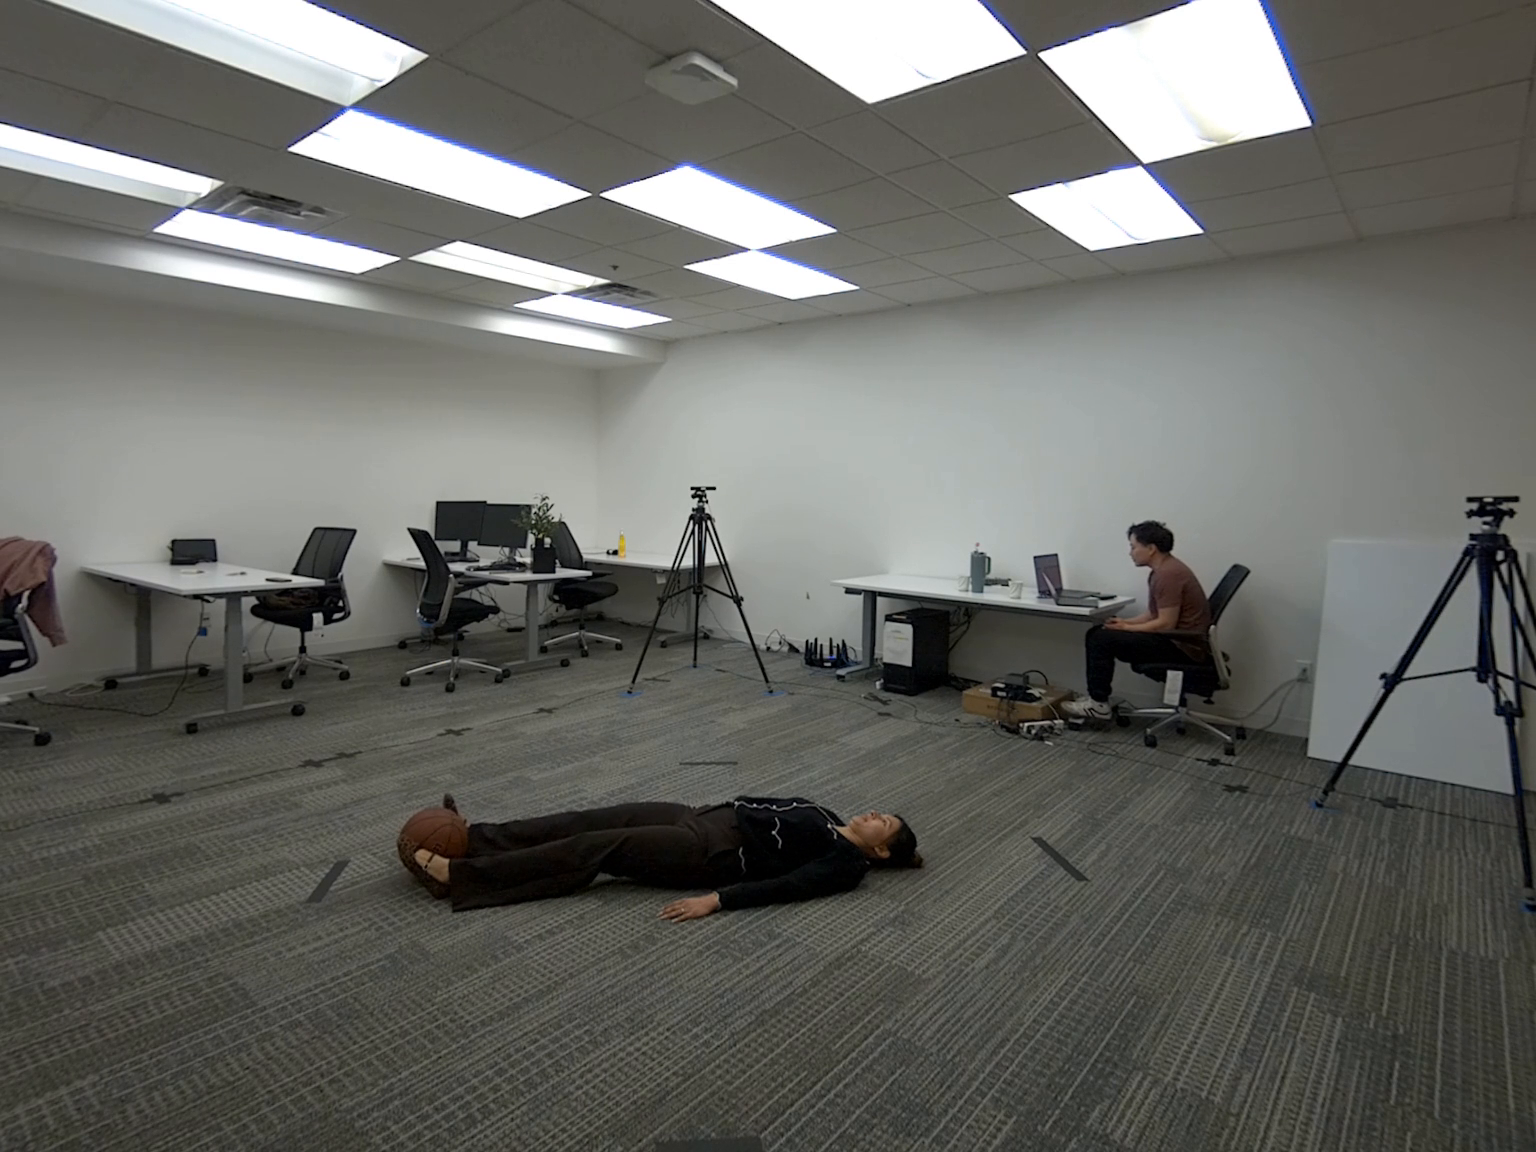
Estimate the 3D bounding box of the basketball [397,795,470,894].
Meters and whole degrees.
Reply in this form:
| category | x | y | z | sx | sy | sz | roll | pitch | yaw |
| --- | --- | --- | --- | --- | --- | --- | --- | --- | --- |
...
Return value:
| category | x | y | z | sx | sy | sz | roll | pitch | yaw |
| --- | --- | --- | --- | --- | --- | --- | --- | --- | --- |
| basketball | -1.196 | 0.938 | 3.019 | 0.236 | 0.234 | 0.238 | 0 | 7 | -2 |
